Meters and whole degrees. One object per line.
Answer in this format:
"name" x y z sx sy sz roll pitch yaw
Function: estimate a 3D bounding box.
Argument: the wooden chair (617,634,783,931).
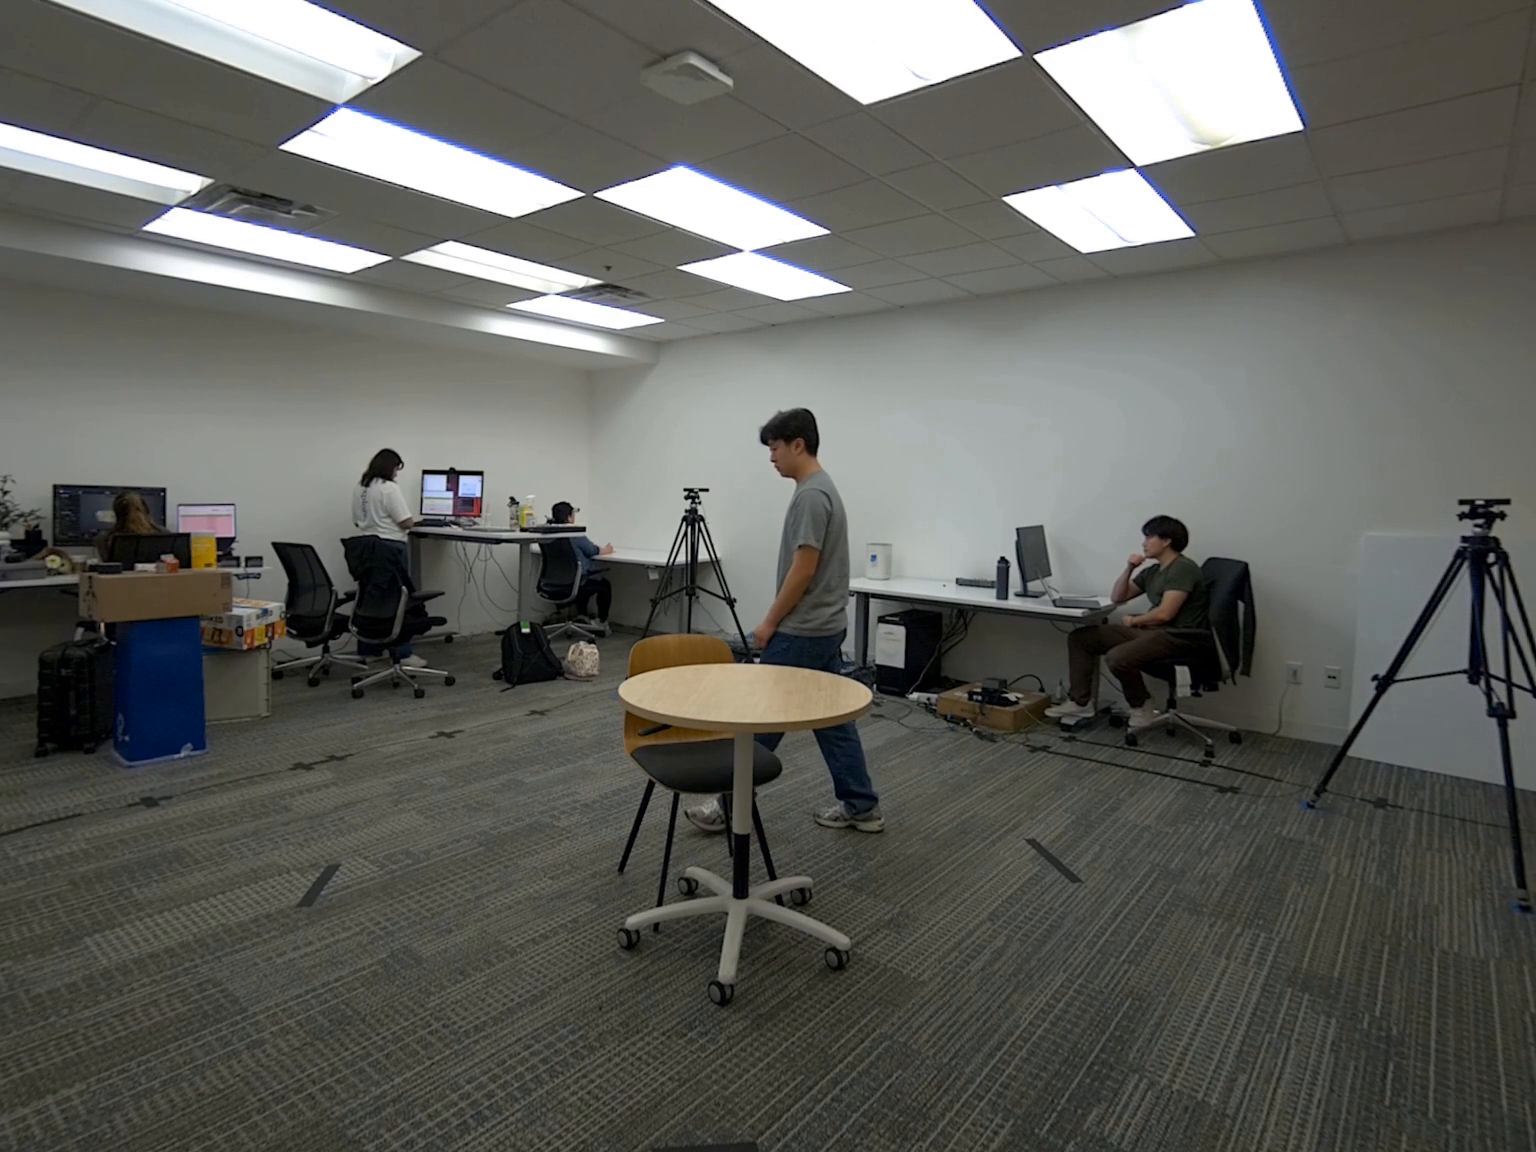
"wooden chair" -0.246 0.658 2.915 0.467 0.879 0.534 0 -1 -24
